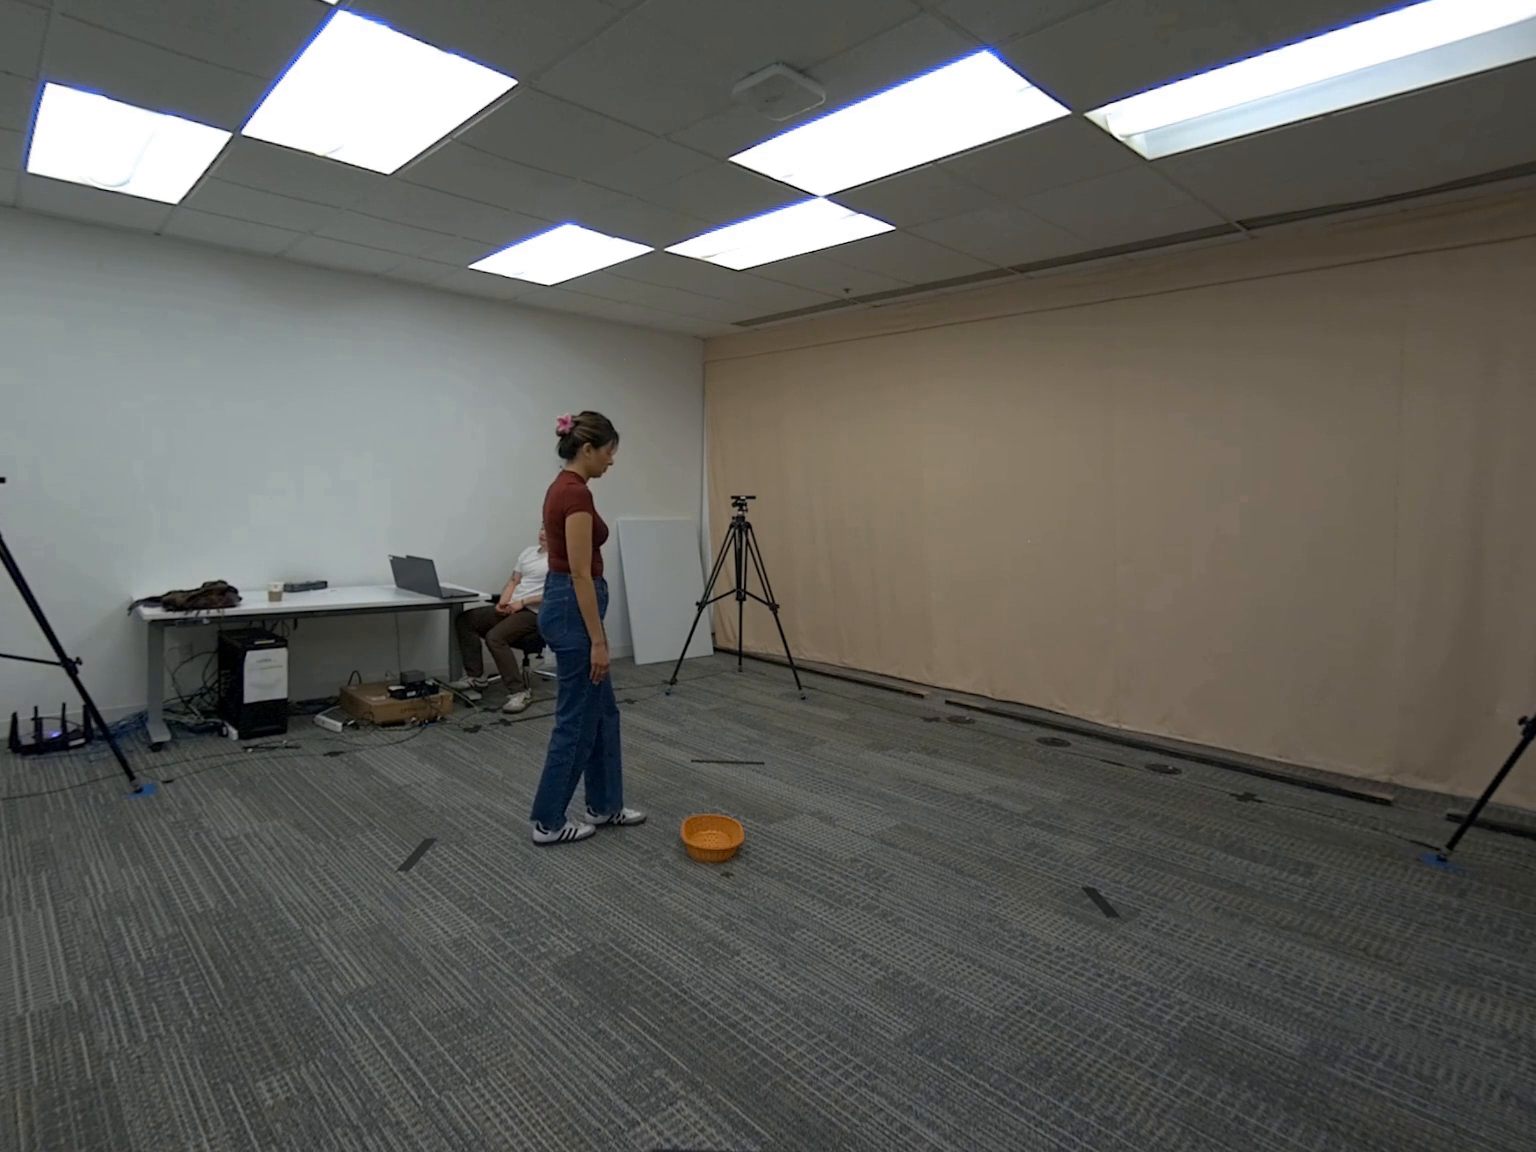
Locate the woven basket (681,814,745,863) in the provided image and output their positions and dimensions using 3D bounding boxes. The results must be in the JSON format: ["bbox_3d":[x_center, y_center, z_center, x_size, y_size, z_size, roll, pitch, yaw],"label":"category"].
[{"bbox_3d":[-0.235,1.041,3.337,0.252,0.073,0.352,2,5,-2],"label":"woven basket"}]
